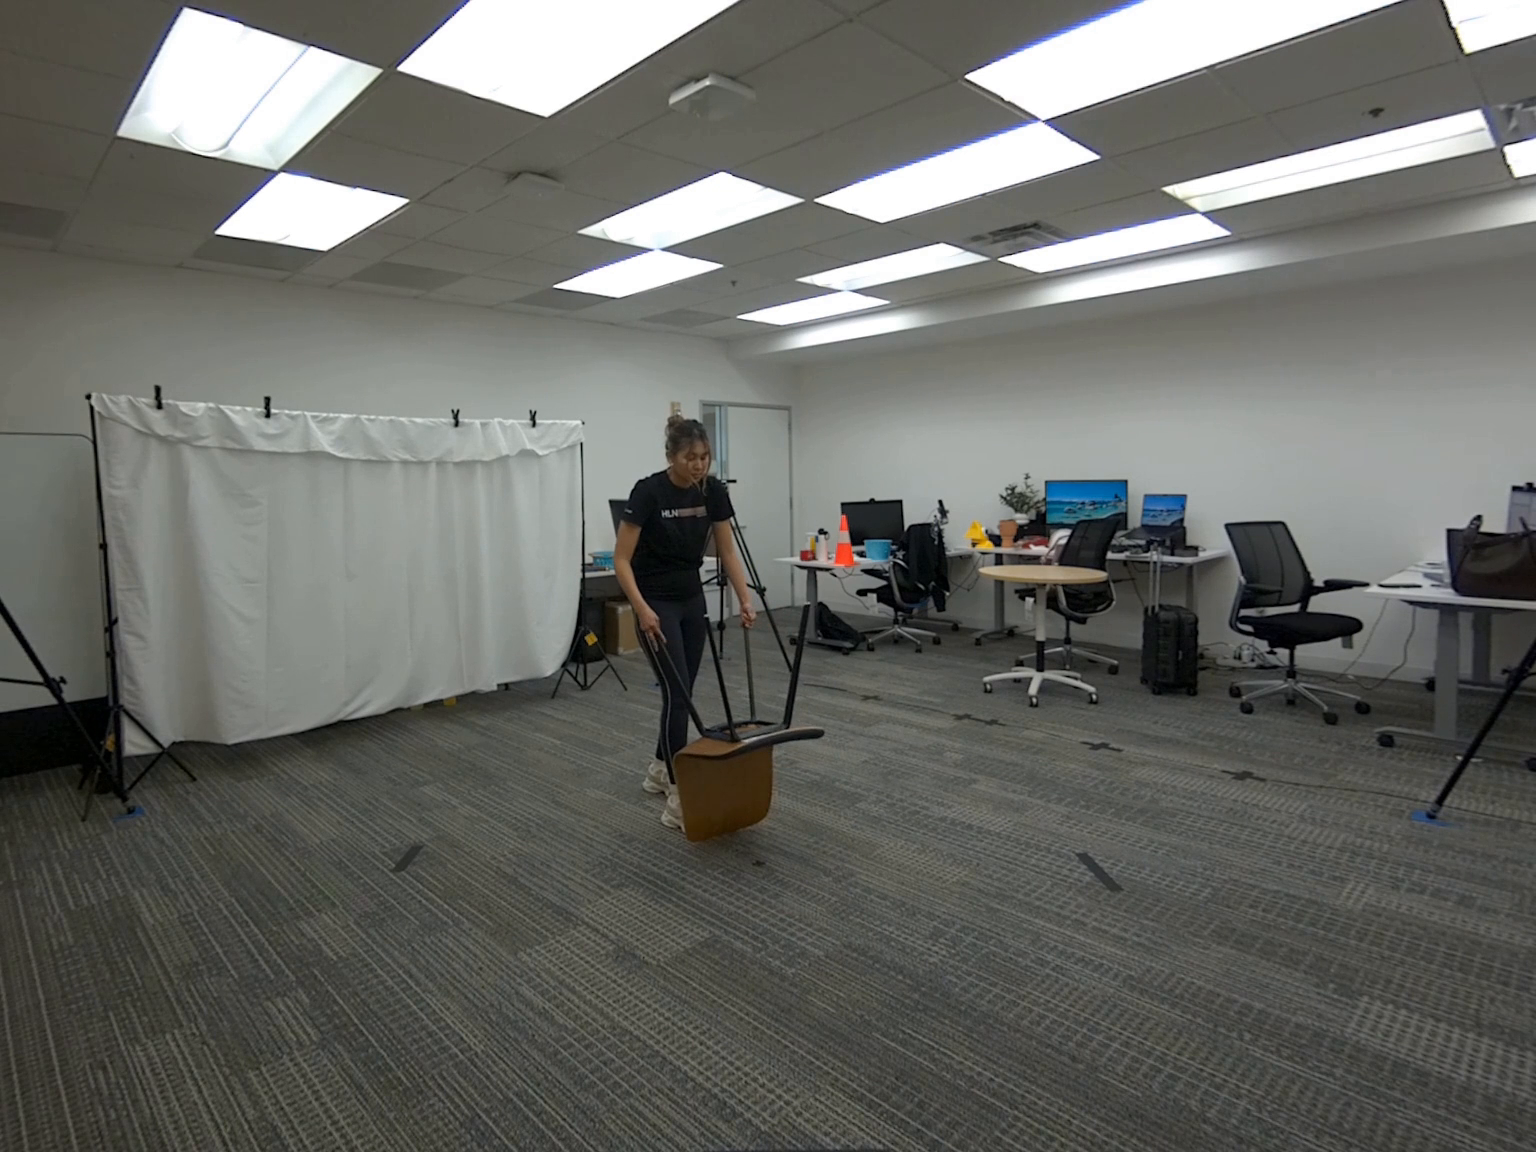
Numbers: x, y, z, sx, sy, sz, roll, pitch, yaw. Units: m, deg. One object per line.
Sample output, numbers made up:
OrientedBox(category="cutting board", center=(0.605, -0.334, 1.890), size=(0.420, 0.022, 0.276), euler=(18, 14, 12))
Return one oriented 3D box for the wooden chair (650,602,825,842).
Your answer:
OrientedBox(category="wooden chair", center=(-0.086, 0.574, 3.179), size=(0.466, 0.881, 0.534), euler=(-4, -4, -34))
